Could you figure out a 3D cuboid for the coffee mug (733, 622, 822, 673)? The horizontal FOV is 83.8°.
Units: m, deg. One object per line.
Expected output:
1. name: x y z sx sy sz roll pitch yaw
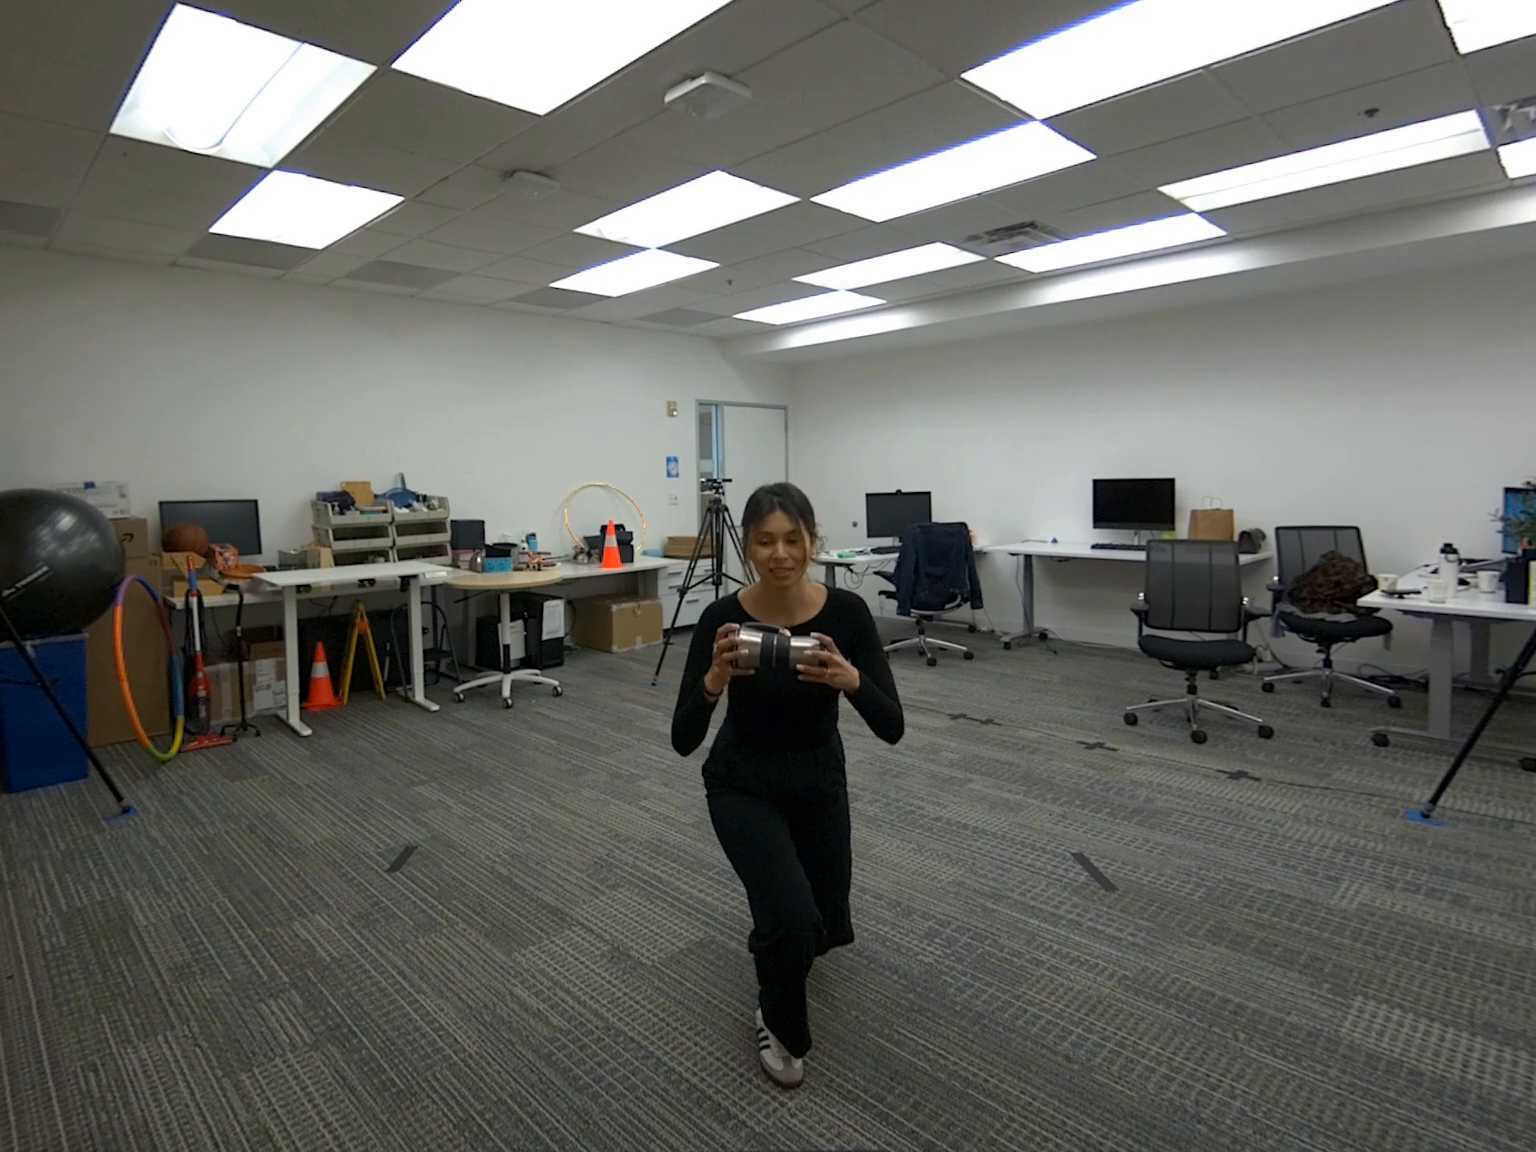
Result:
1. coffee mug: 0.014 0.140 1.797 0.204 0.125 0.085 -1 -39 8
